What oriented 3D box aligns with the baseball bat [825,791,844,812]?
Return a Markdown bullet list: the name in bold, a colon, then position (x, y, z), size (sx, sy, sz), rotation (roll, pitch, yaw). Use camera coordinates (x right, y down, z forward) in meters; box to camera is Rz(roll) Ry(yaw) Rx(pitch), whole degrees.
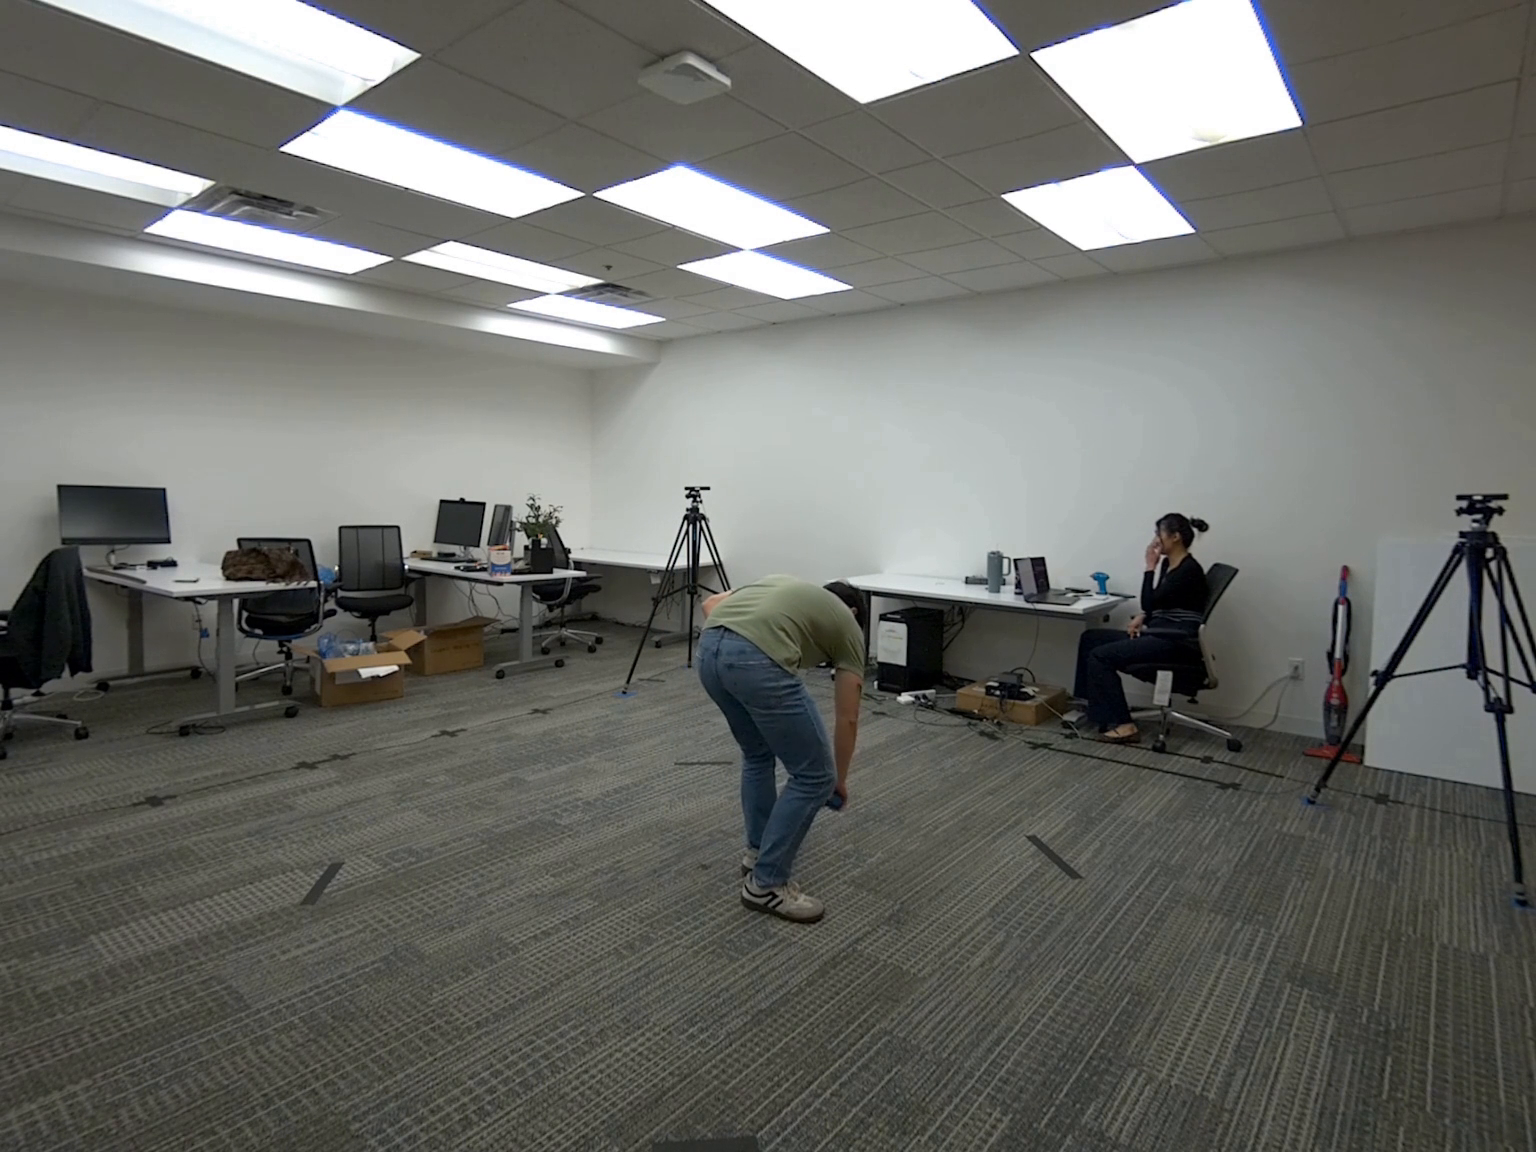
- **baseball bat**: position (0.117, 0.901, 3.328), size (0.087, 0.091, 0.546), rotation (-1, -18, -27)
